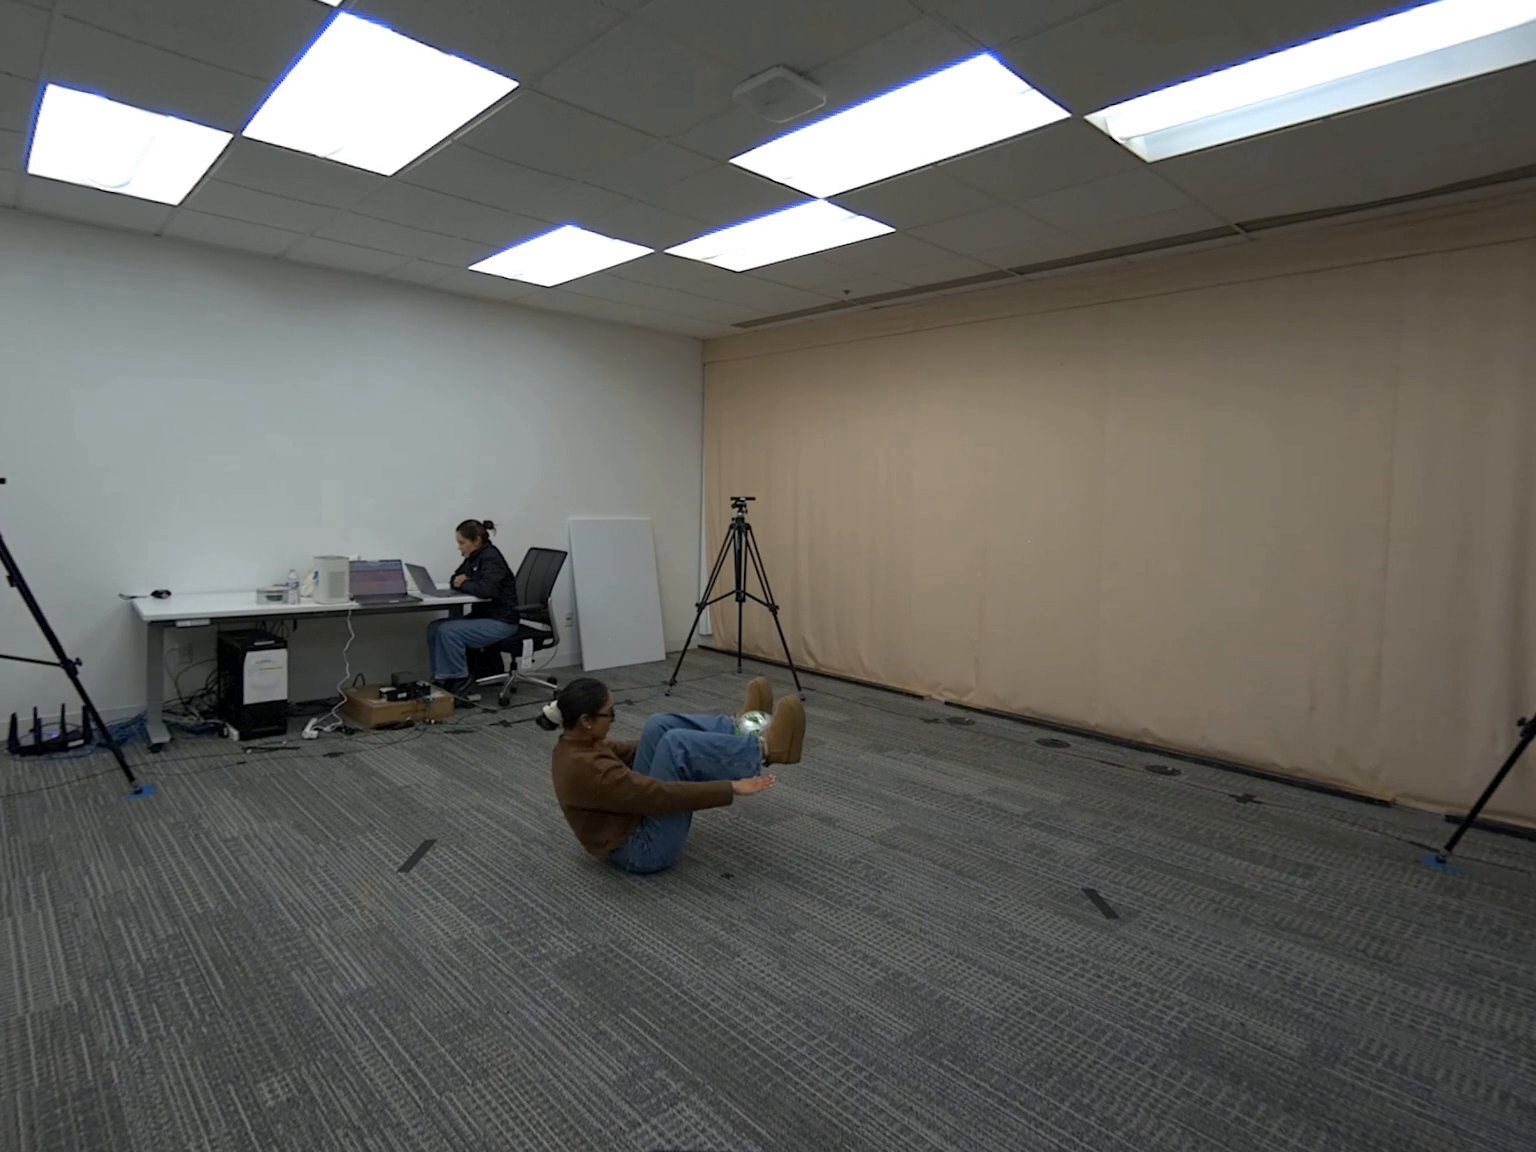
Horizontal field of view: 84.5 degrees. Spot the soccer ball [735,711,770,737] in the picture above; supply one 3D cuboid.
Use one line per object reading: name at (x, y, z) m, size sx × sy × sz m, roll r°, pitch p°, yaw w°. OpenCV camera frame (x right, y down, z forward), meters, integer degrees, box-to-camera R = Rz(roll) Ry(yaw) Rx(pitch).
soccer ball at (-0.046, 0.651, 3.391) m, size 0.187 × 0.187 × 0.188 m, roll 1°, pitch 4°, yaw -1°
